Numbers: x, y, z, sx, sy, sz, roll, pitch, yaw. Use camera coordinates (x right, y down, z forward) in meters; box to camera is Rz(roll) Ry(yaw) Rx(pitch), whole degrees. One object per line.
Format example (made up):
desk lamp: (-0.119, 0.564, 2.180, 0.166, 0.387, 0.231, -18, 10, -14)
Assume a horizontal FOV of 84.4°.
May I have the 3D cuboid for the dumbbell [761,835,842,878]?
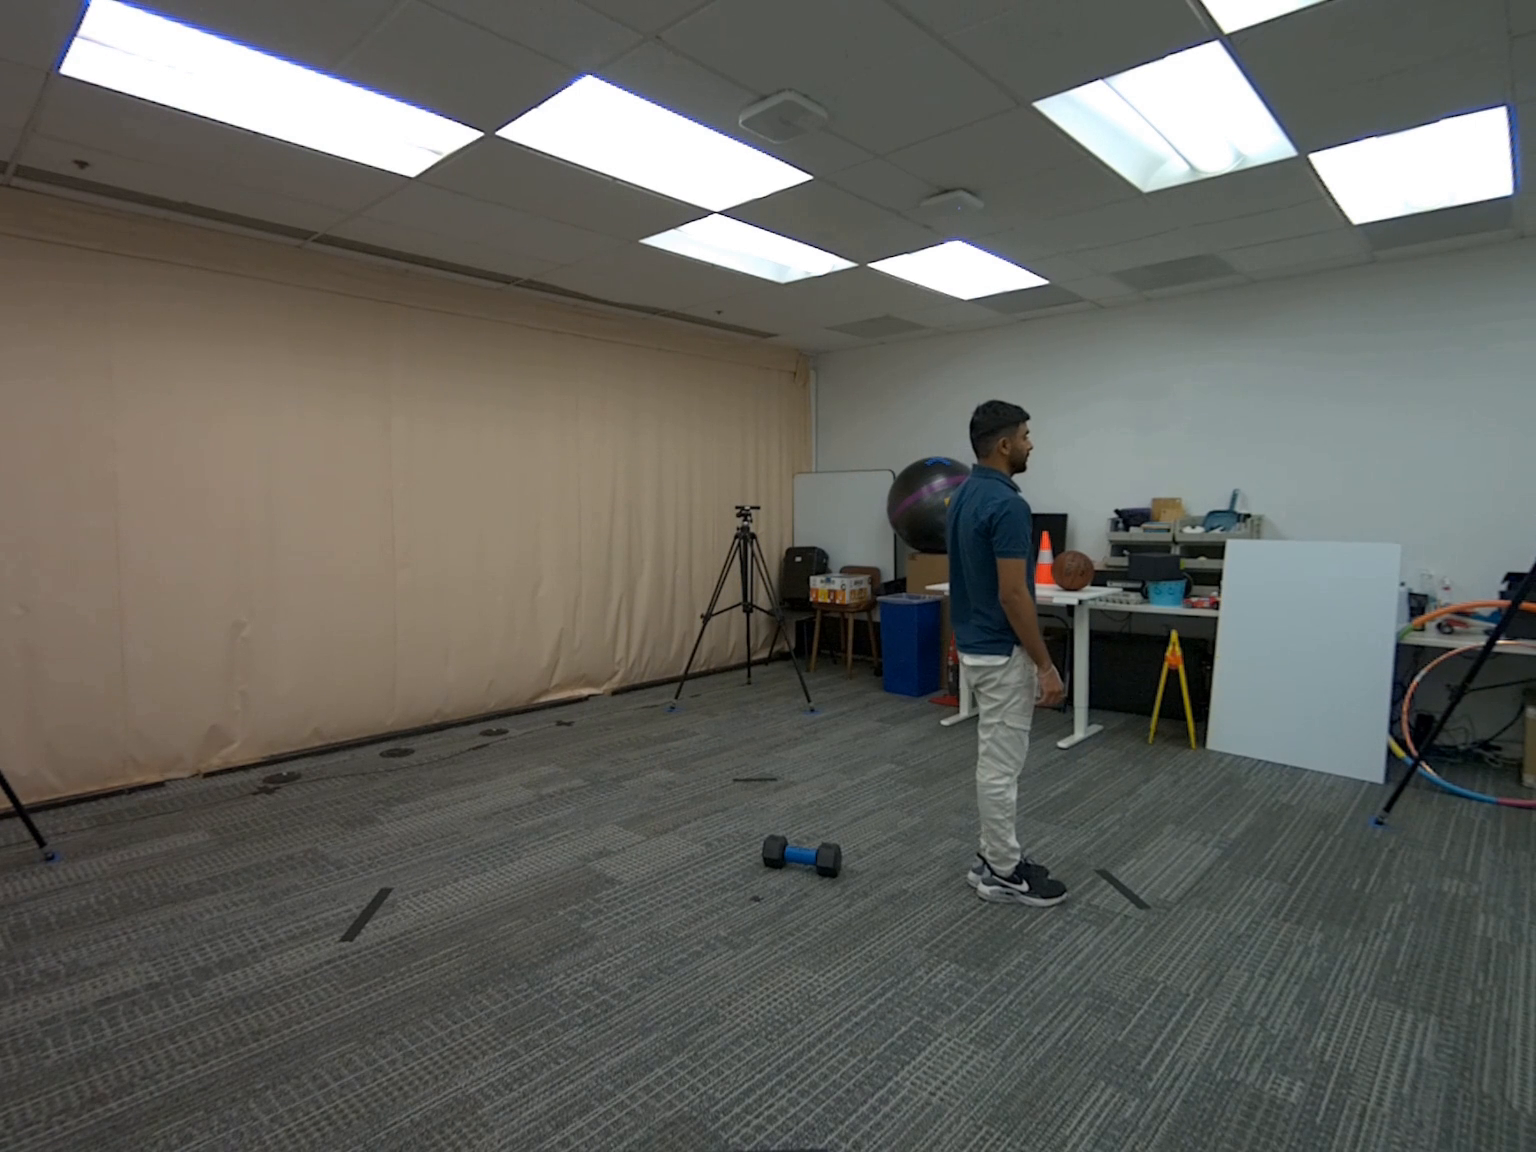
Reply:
dumbbell: (0.128, 1.068, 3.229, 0.300, 0.124, 0.105, 1, -25, 22)
